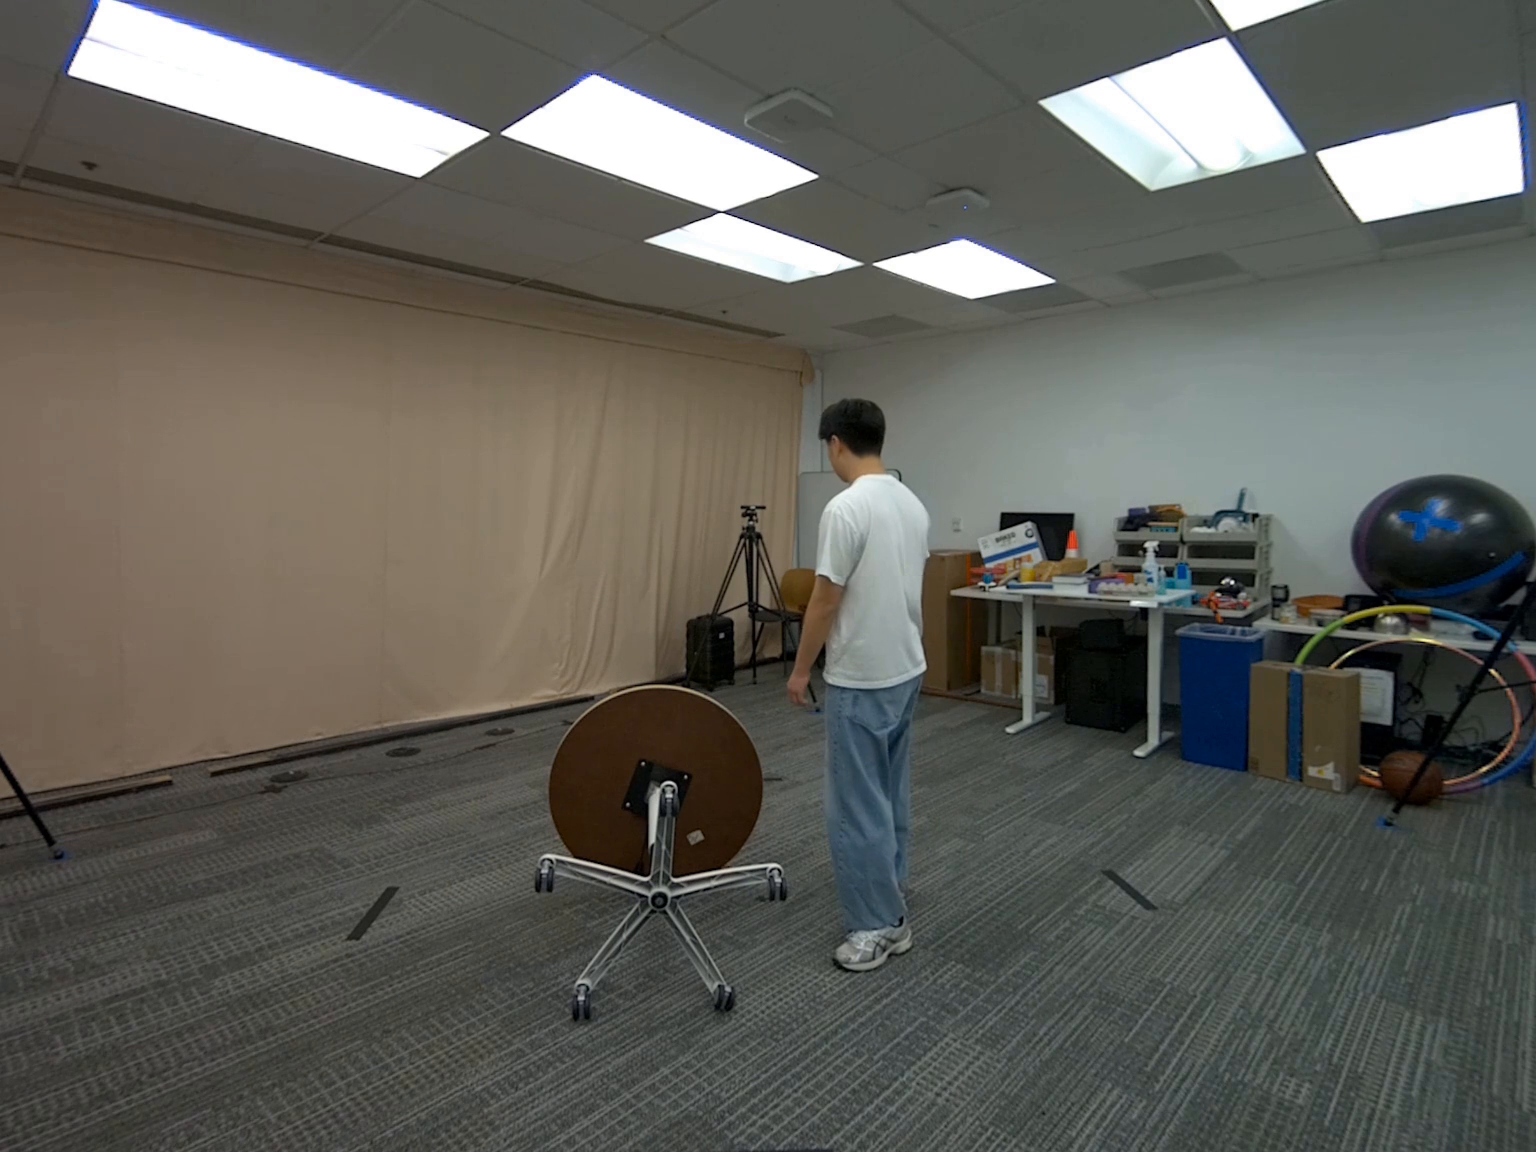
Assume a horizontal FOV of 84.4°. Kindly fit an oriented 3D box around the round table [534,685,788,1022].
[{"bbox_3d":[-0.335,0.833,2.634,0.779,0.781,0.797,-1,9,-8],"label":"round table"}]
